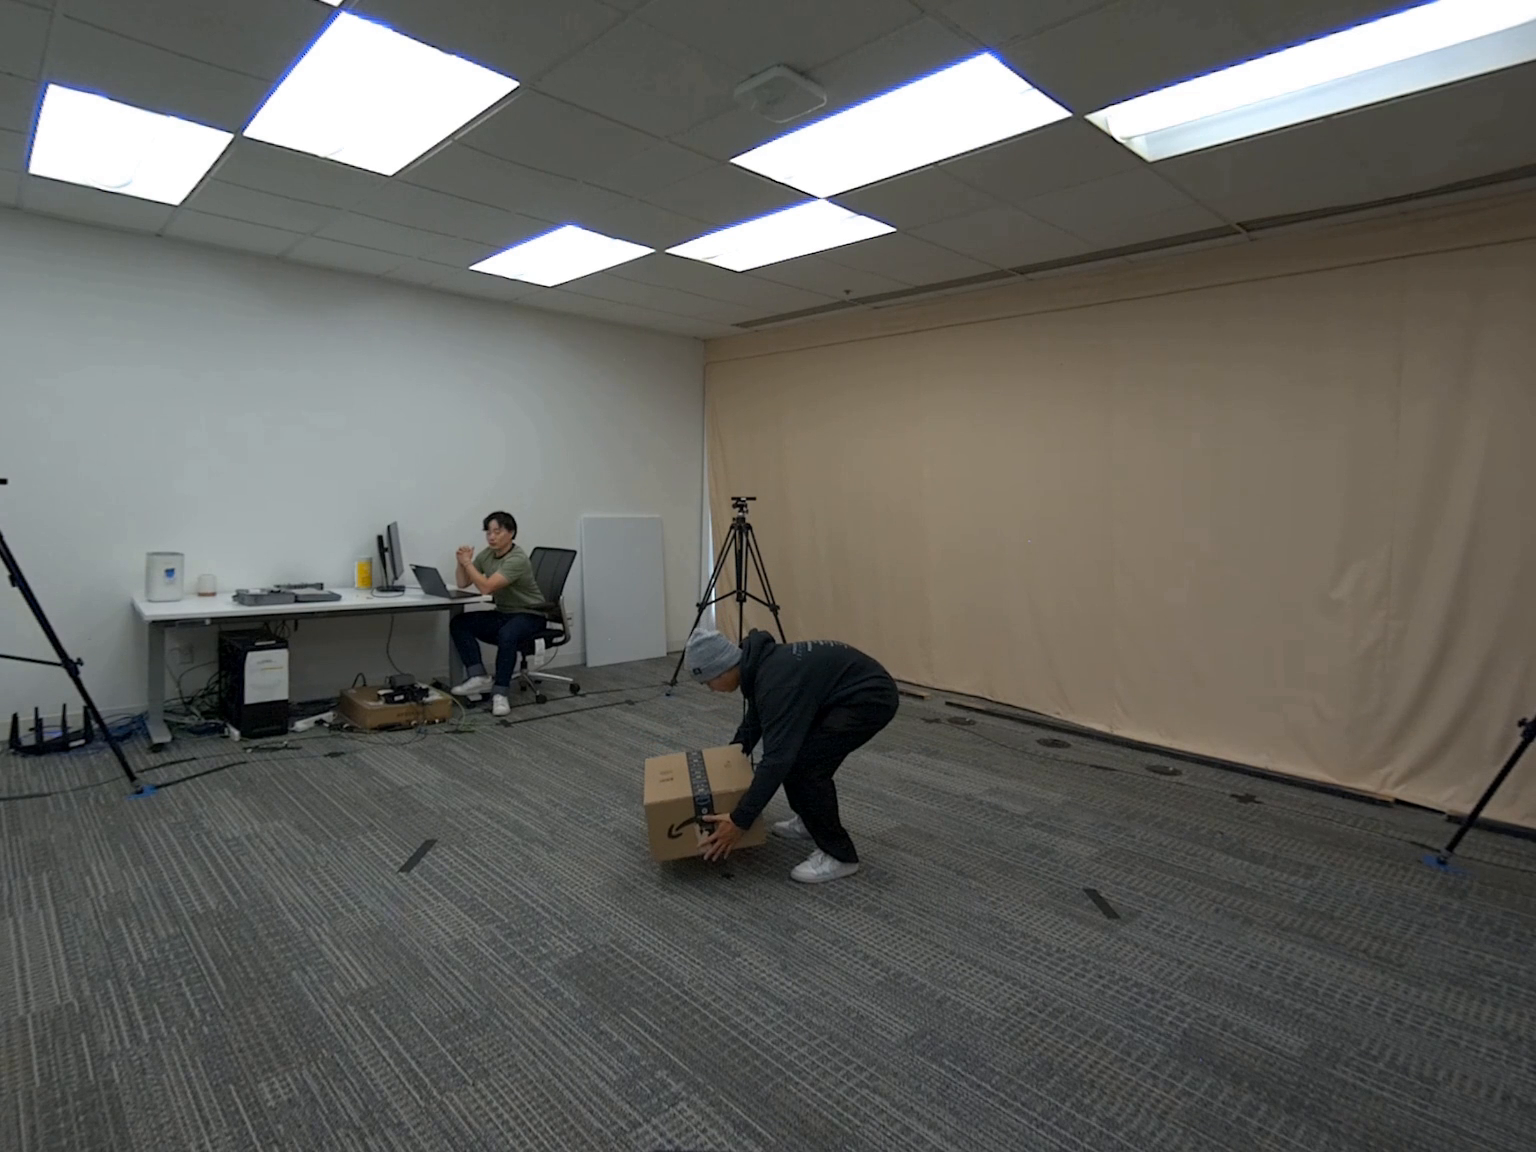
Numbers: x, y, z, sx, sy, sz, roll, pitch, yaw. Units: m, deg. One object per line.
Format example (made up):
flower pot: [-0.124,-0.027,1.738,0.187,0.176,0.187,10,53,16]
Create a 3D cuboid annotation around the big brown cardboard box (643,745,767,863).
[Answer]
big brown cardboard box: [-0.271,0.867,3.267,0.416,0.233,0.592,-7,4,-6]
